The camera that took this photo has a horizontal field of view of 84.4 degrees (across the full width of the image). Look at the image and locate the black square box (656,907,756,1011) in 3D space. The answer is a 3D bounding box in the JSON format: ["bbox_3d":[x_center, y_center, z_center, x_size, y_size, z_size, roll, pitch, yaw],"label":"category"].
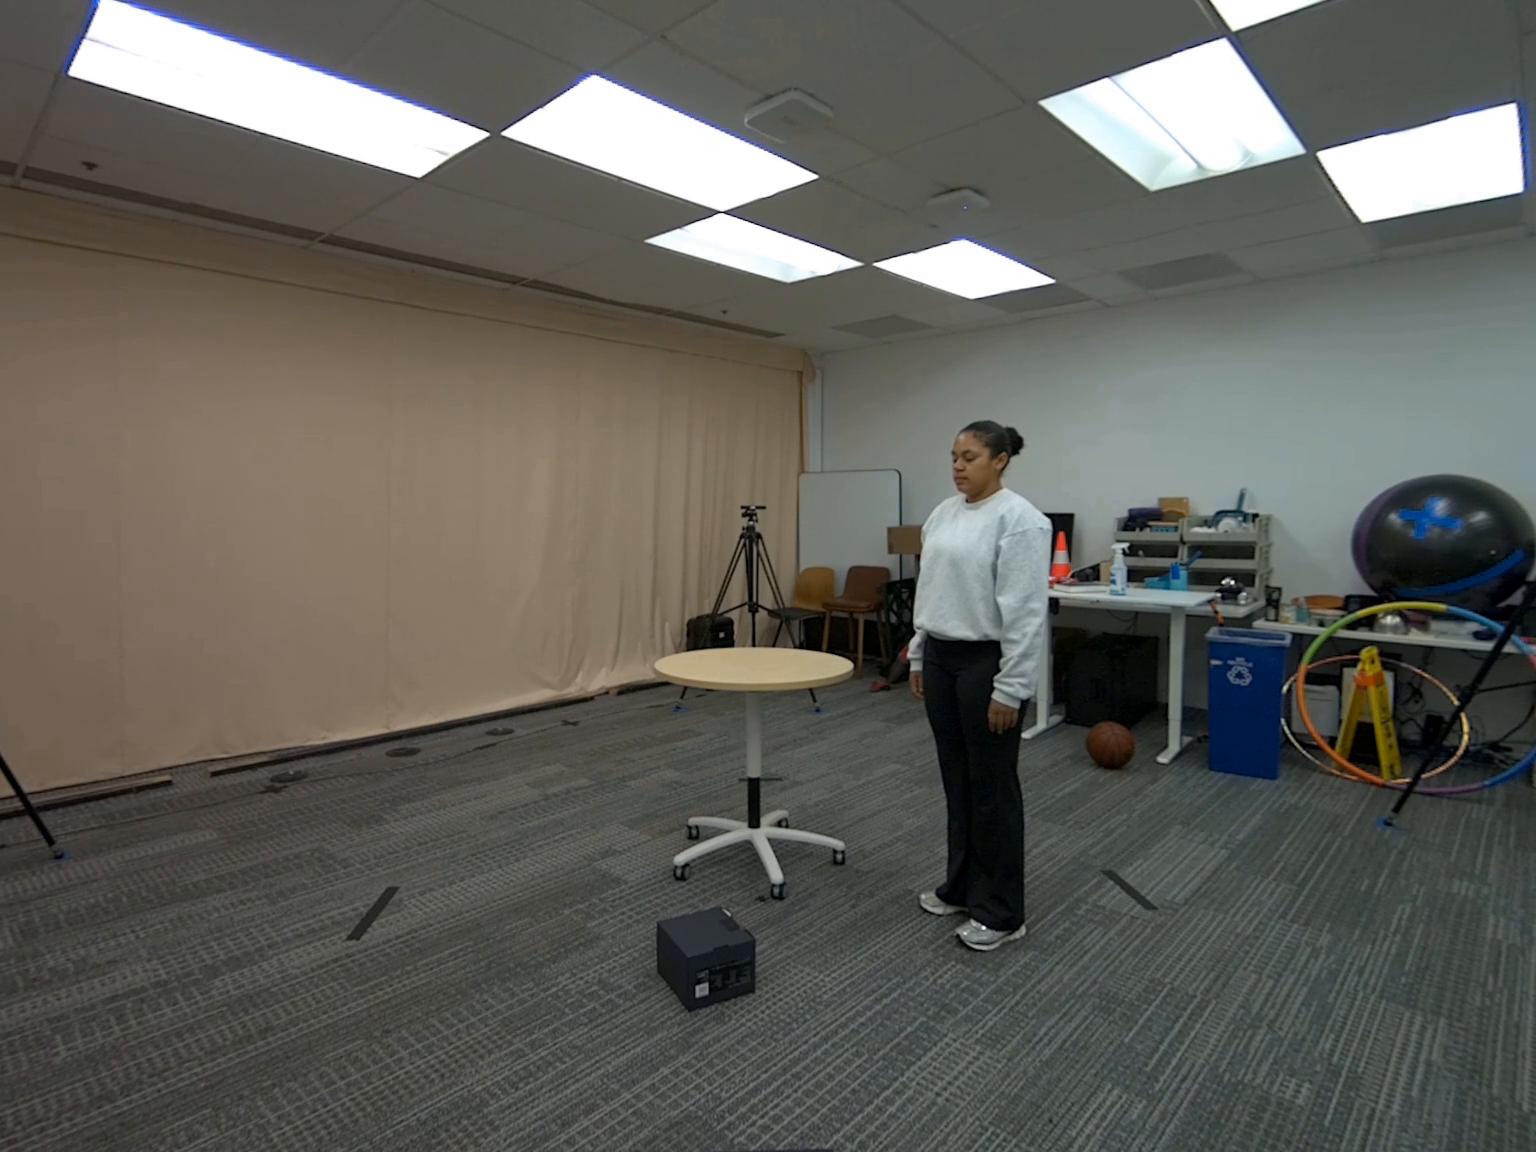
[{"bbox_3d":[-0.182,1.106,2.456,0.211,0.155,0.234,-2,5,-28],"label":"black square box"}]
